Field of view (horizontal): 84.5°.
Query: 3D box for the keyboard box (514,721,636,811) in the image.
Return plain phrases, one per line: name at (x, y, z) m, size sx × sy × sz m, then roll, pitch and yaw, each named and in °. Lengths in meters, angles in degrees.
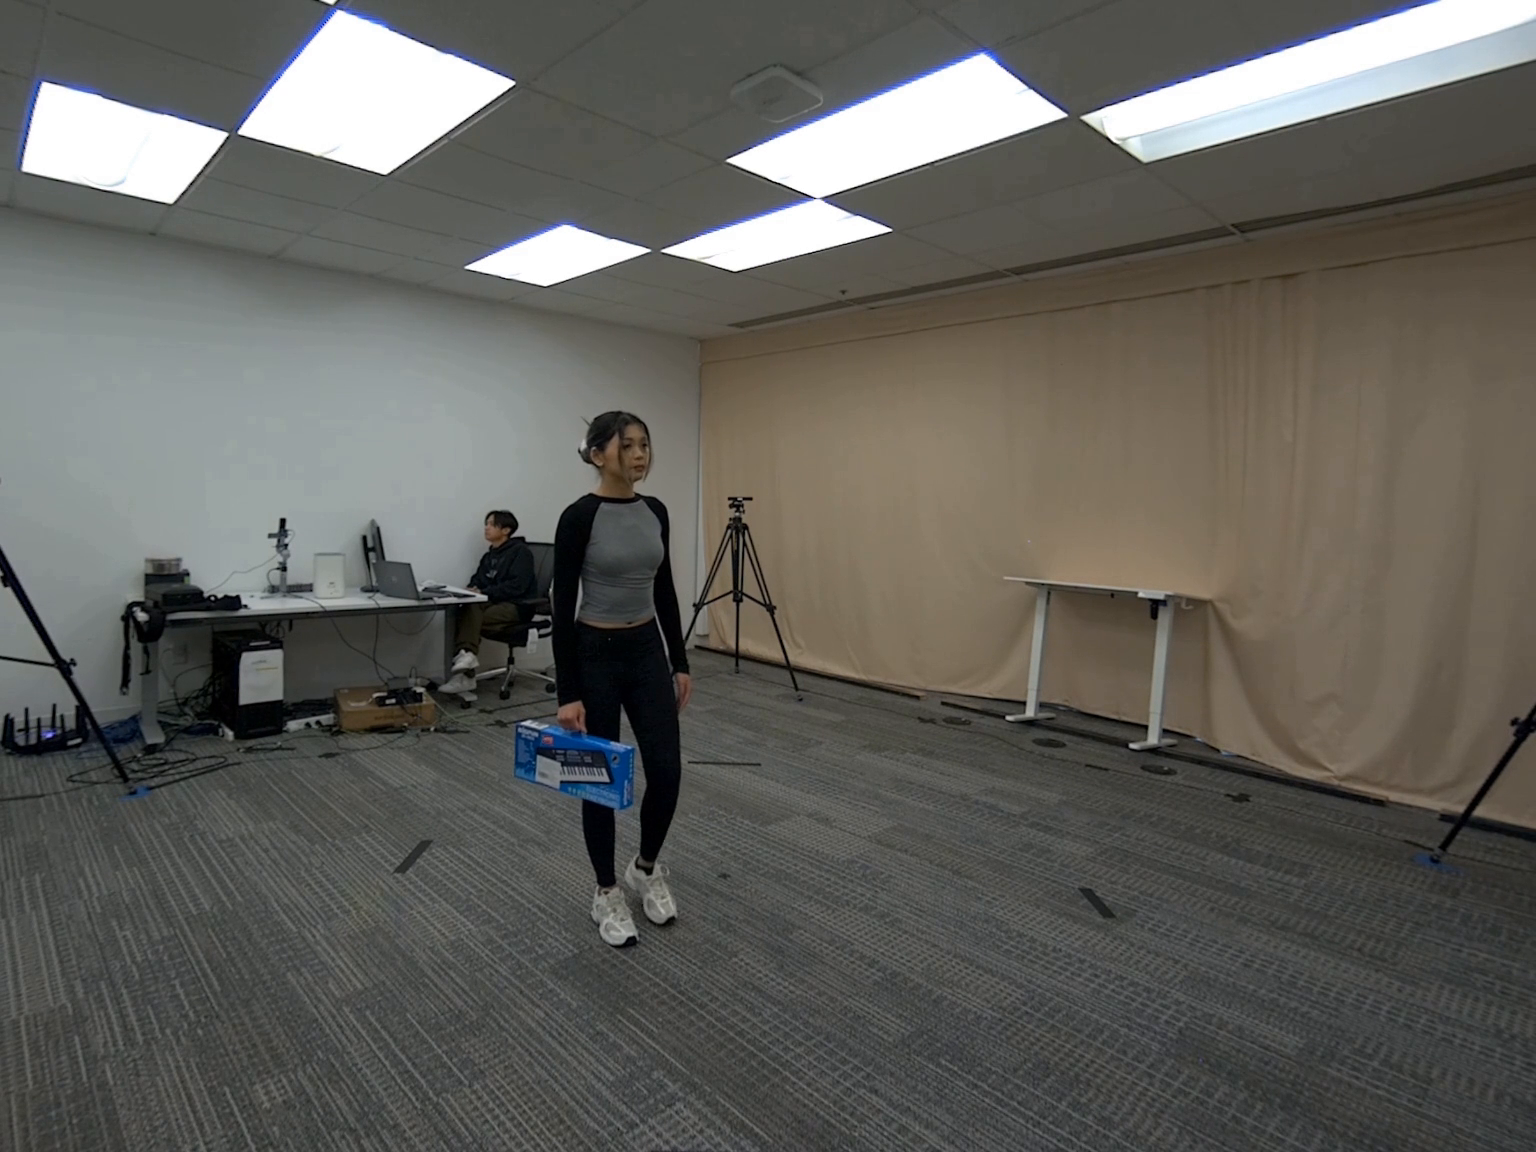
keyboard box at (-0.596, 0.567, 2.541) m, size 0.447 × 0.175 × 0.058 m, roll 6°, pitch 5°, yaw 31°
